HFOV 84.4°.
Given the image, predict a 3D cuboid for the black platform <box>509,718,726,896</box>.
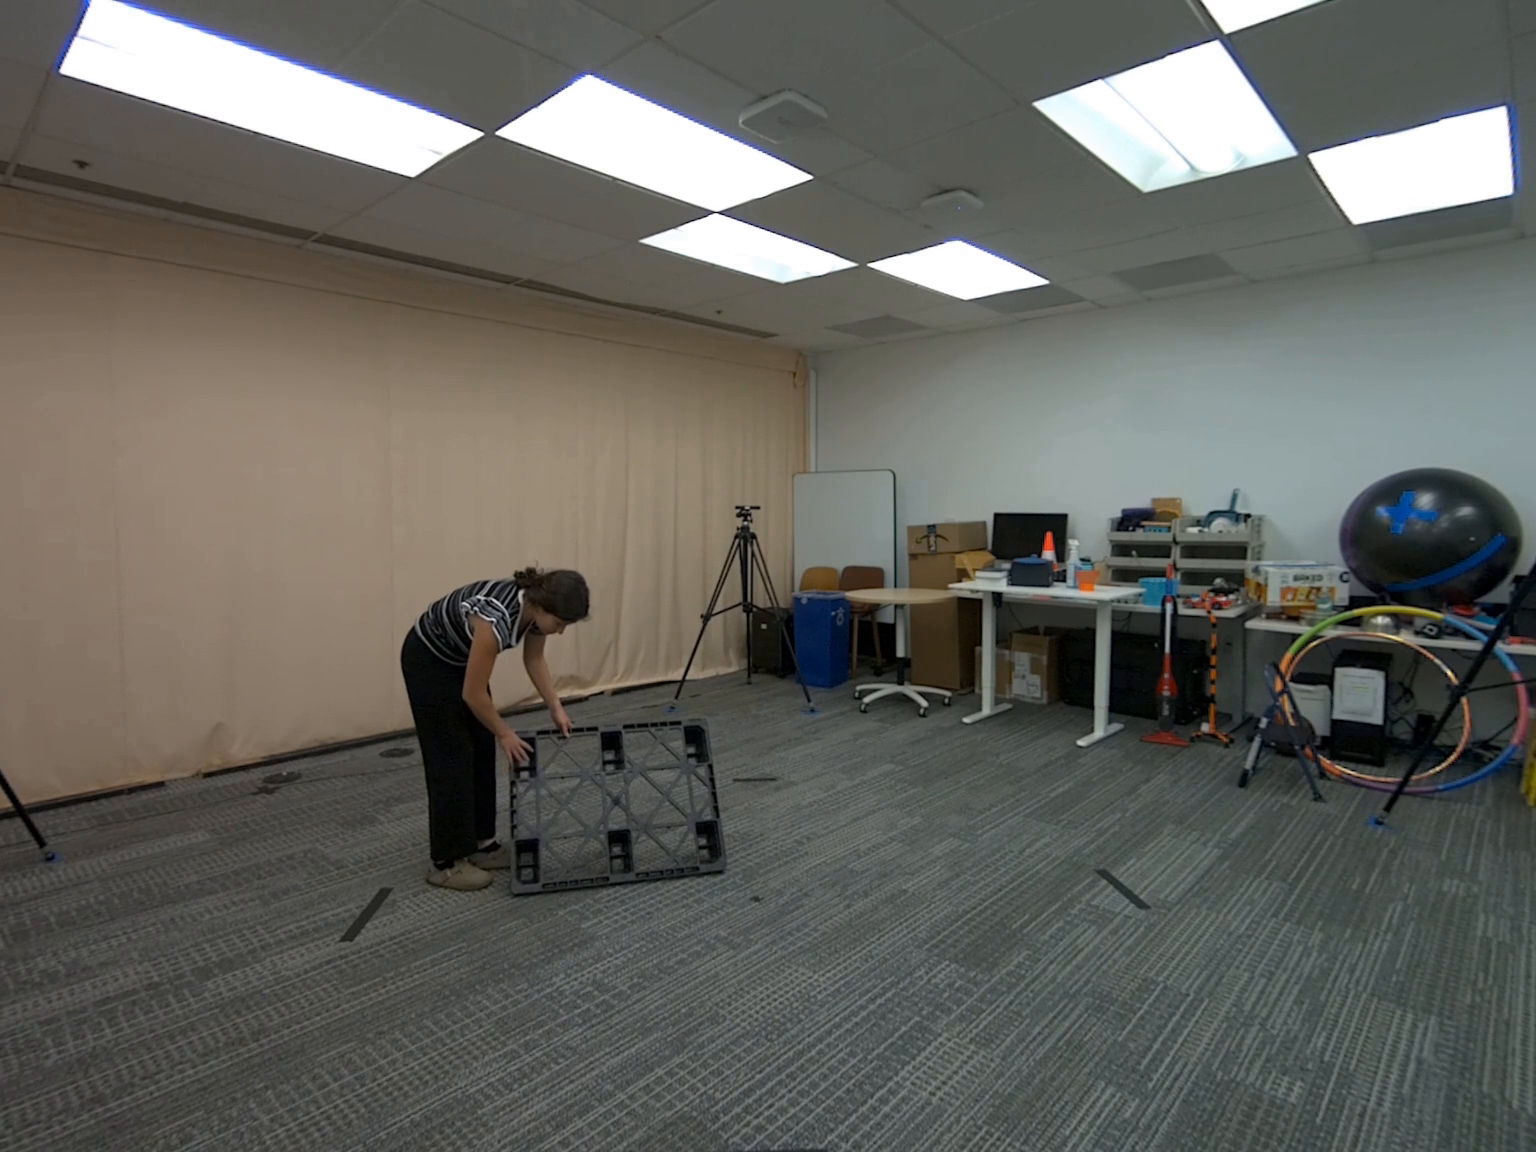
[{"bbox_3d":[-0.598,0.888,3.280,0.794,0.617,0.142,-2,-30,-13],"label":"black platform"}]
